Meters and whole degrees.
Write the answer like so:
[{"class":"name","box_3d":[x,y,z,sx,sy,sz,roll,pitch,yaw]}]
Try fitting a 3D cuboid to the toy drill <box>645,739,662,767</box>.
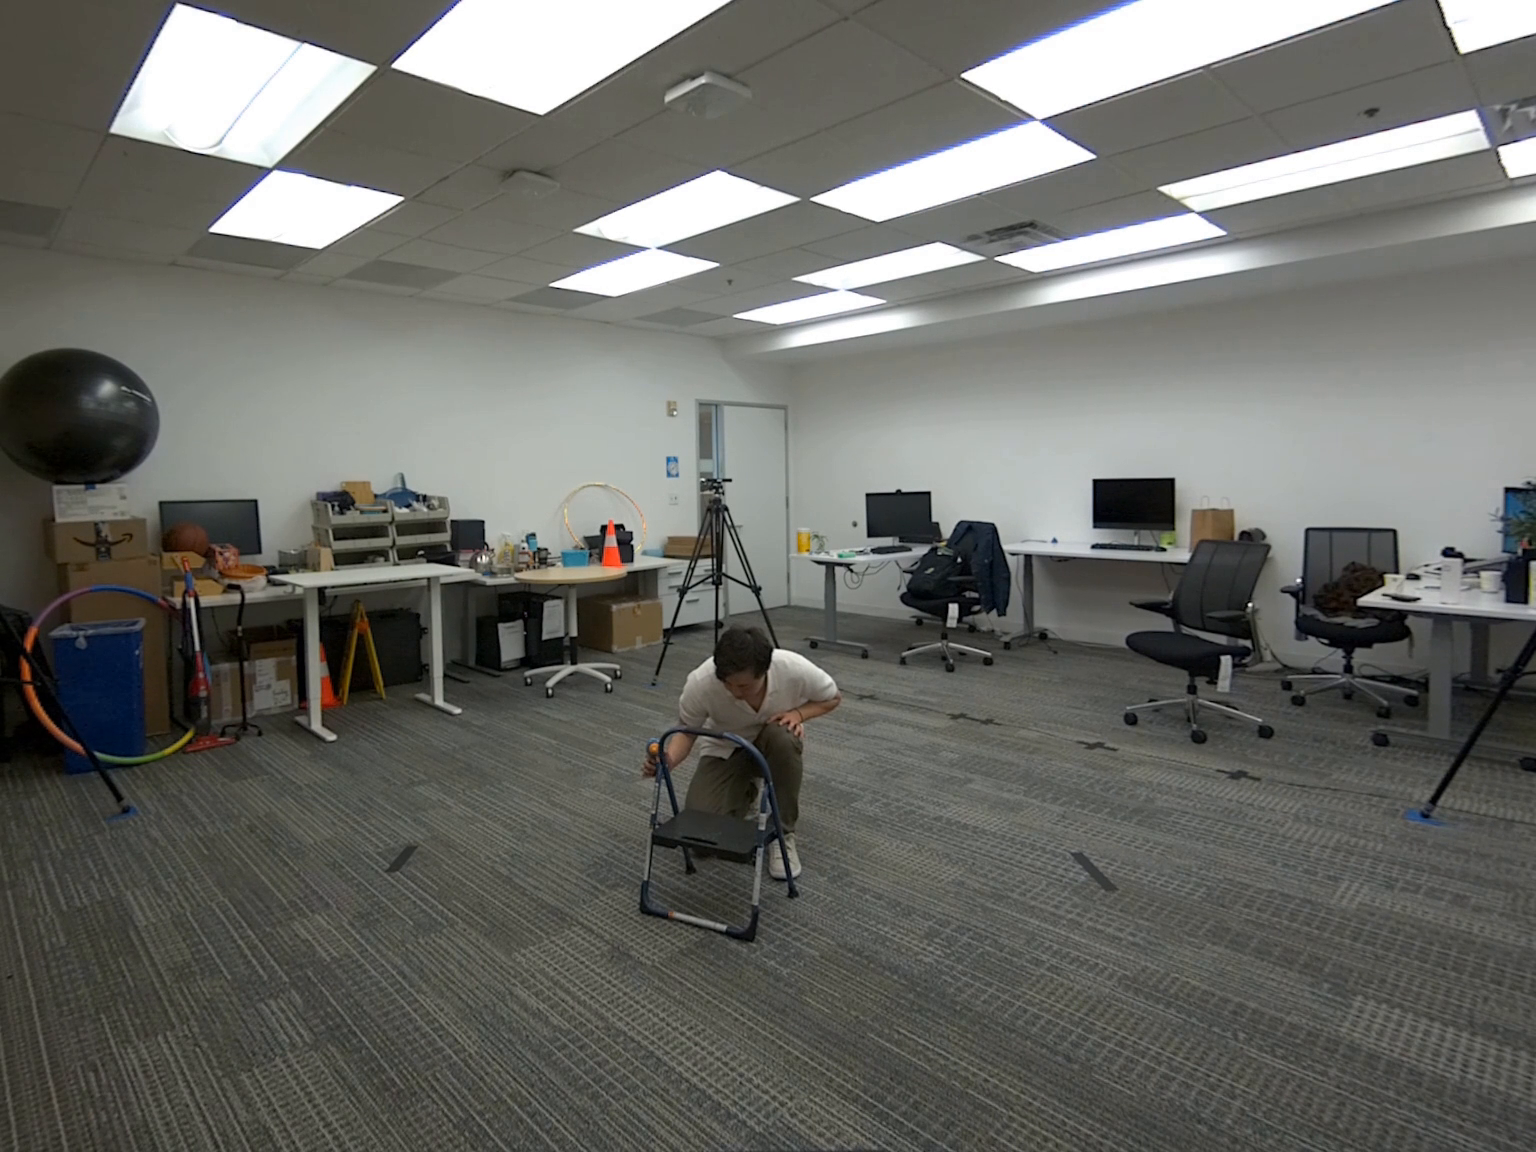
[{"class":"toy drill","box_3d":[-0.393,0.642,2.994,0.061,0.147,0.169,1,-5,-2]}]
